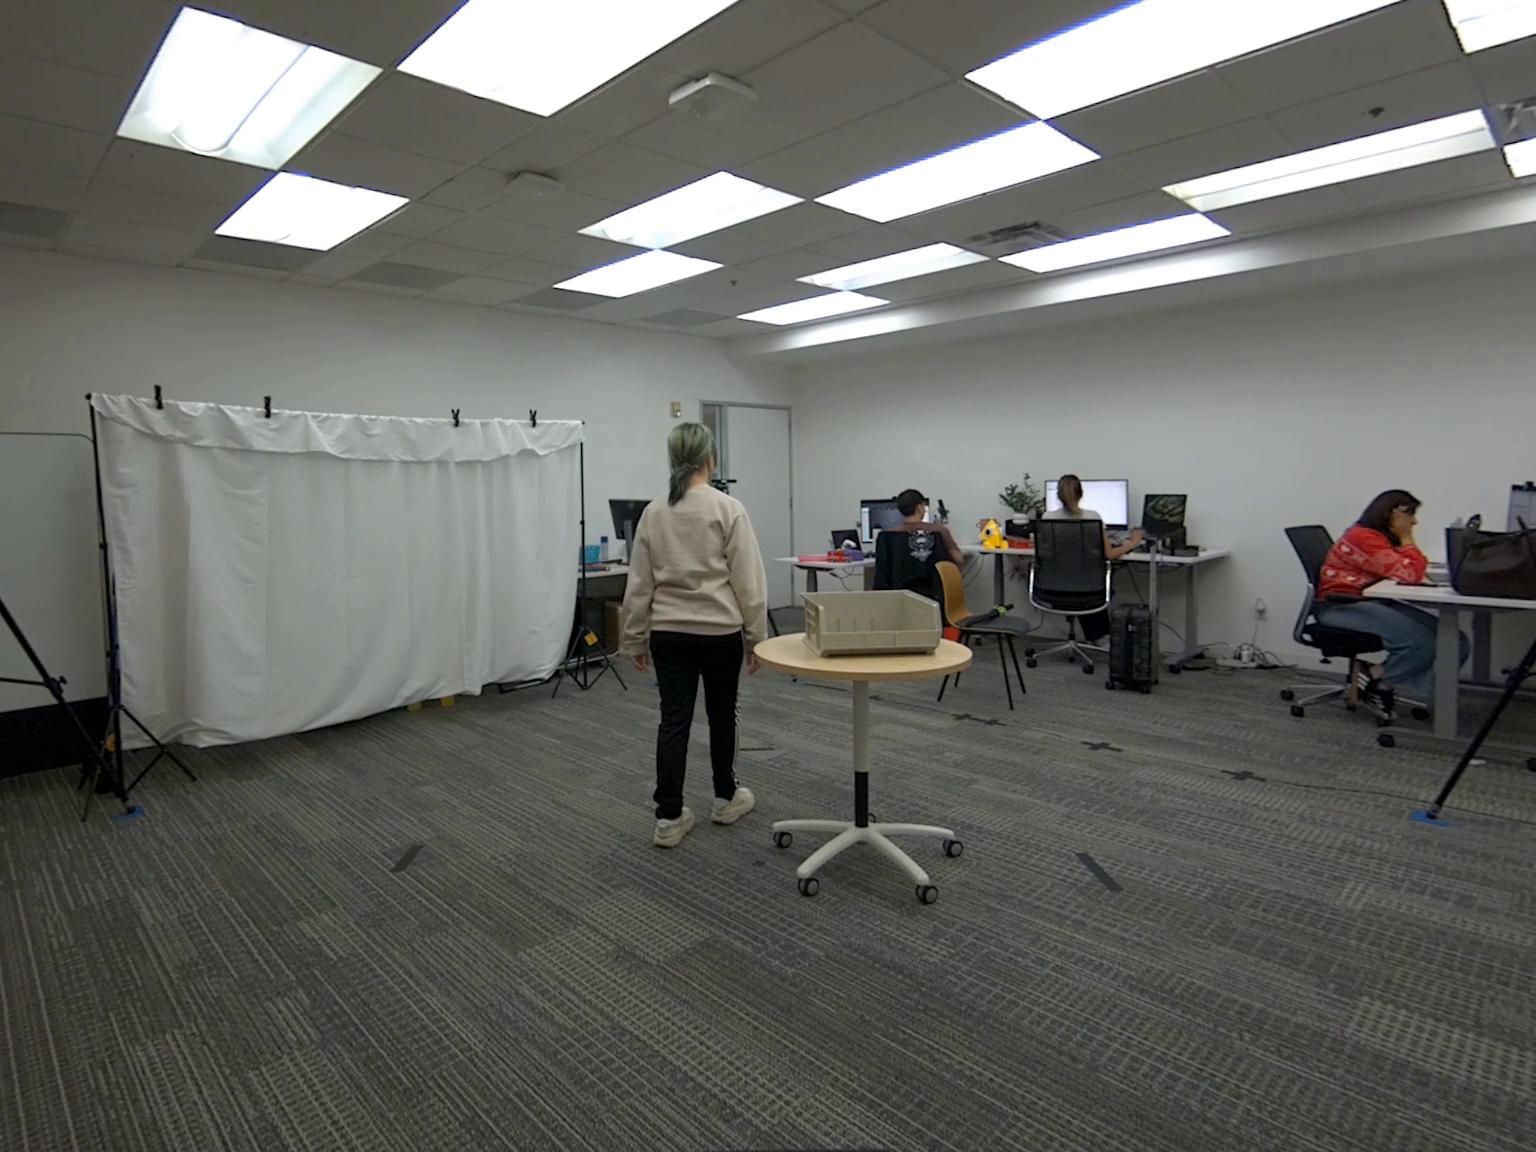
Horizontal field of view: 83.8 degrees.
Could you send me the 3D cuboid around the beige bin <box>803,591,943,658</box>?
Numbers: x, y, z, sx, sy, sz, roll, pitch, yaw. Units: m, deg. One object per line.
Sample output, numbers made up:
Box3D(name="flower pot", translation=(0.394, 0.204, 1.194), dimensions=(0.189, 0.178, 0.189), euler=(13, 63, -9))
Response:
Box3D(name="beige bin", translation=(0.358, 0.168, 3.060), dimensions=(0.420, 0.188, 0.380), euler=(-2, 3, -7))
